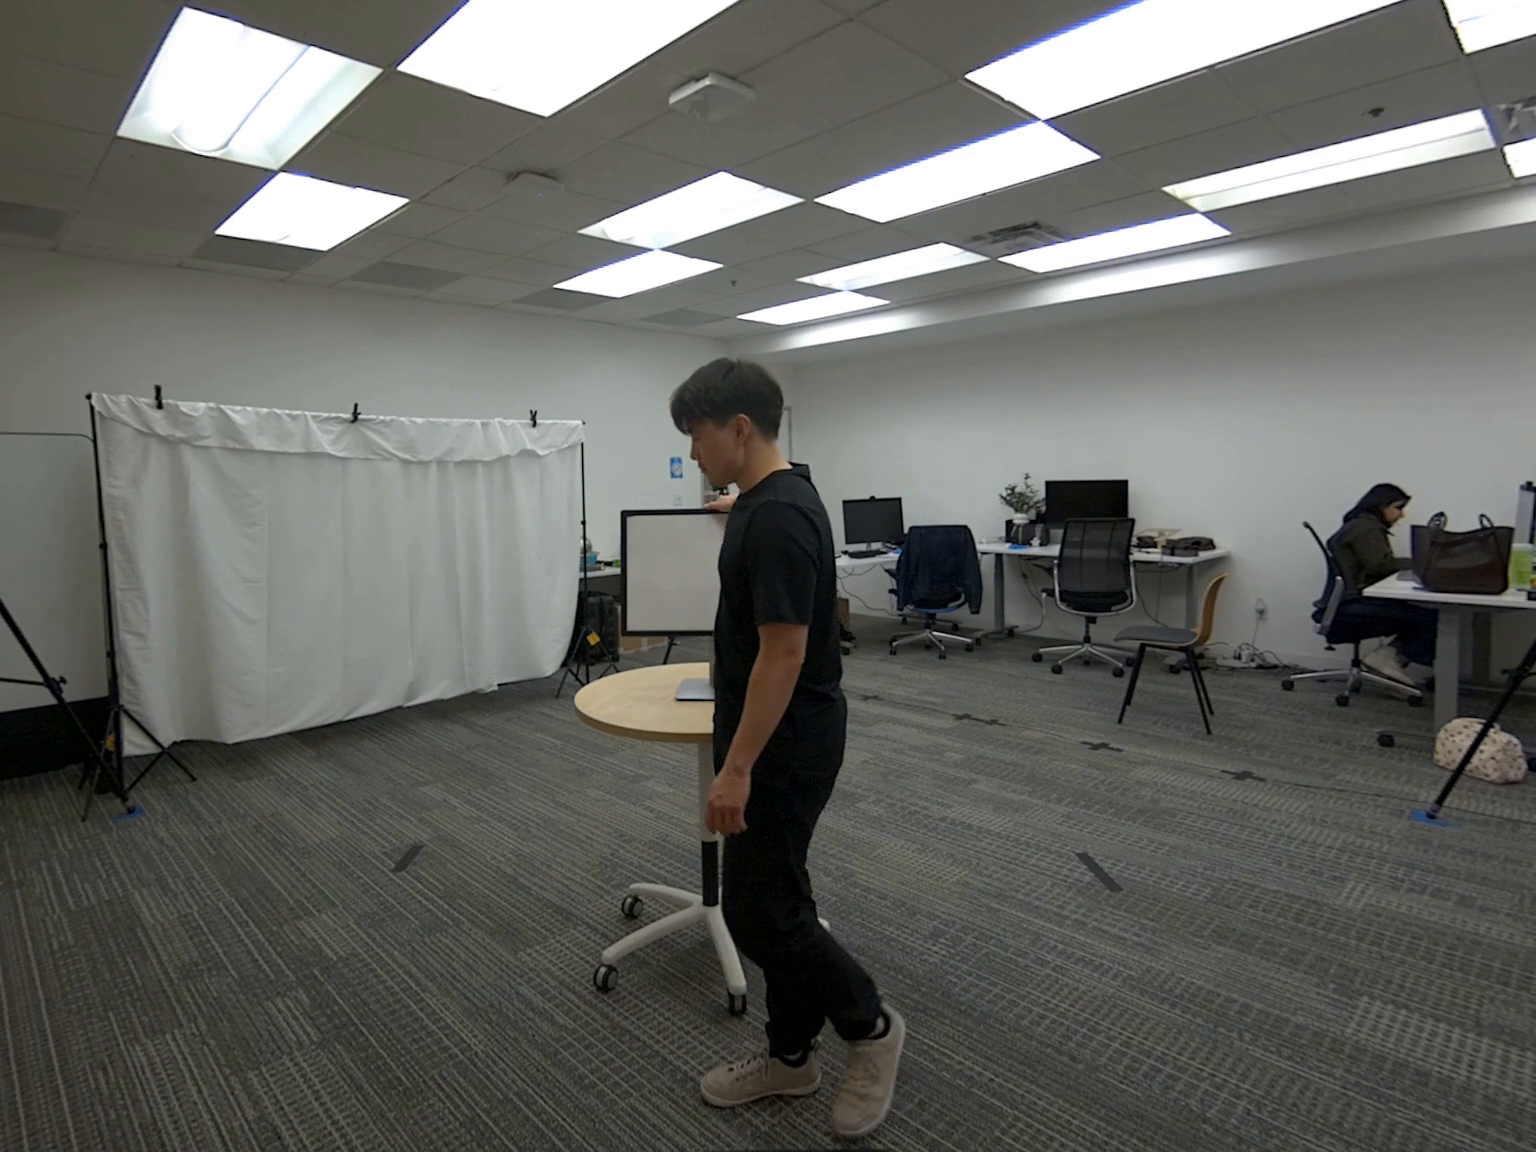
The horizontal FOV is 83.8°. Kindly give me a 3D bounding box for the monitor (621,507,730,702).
[{"bbox_3d":[-0.136,0.080,2.487,0.540,0.520,0.187,-1,6,3],"label":"monitor"}]
